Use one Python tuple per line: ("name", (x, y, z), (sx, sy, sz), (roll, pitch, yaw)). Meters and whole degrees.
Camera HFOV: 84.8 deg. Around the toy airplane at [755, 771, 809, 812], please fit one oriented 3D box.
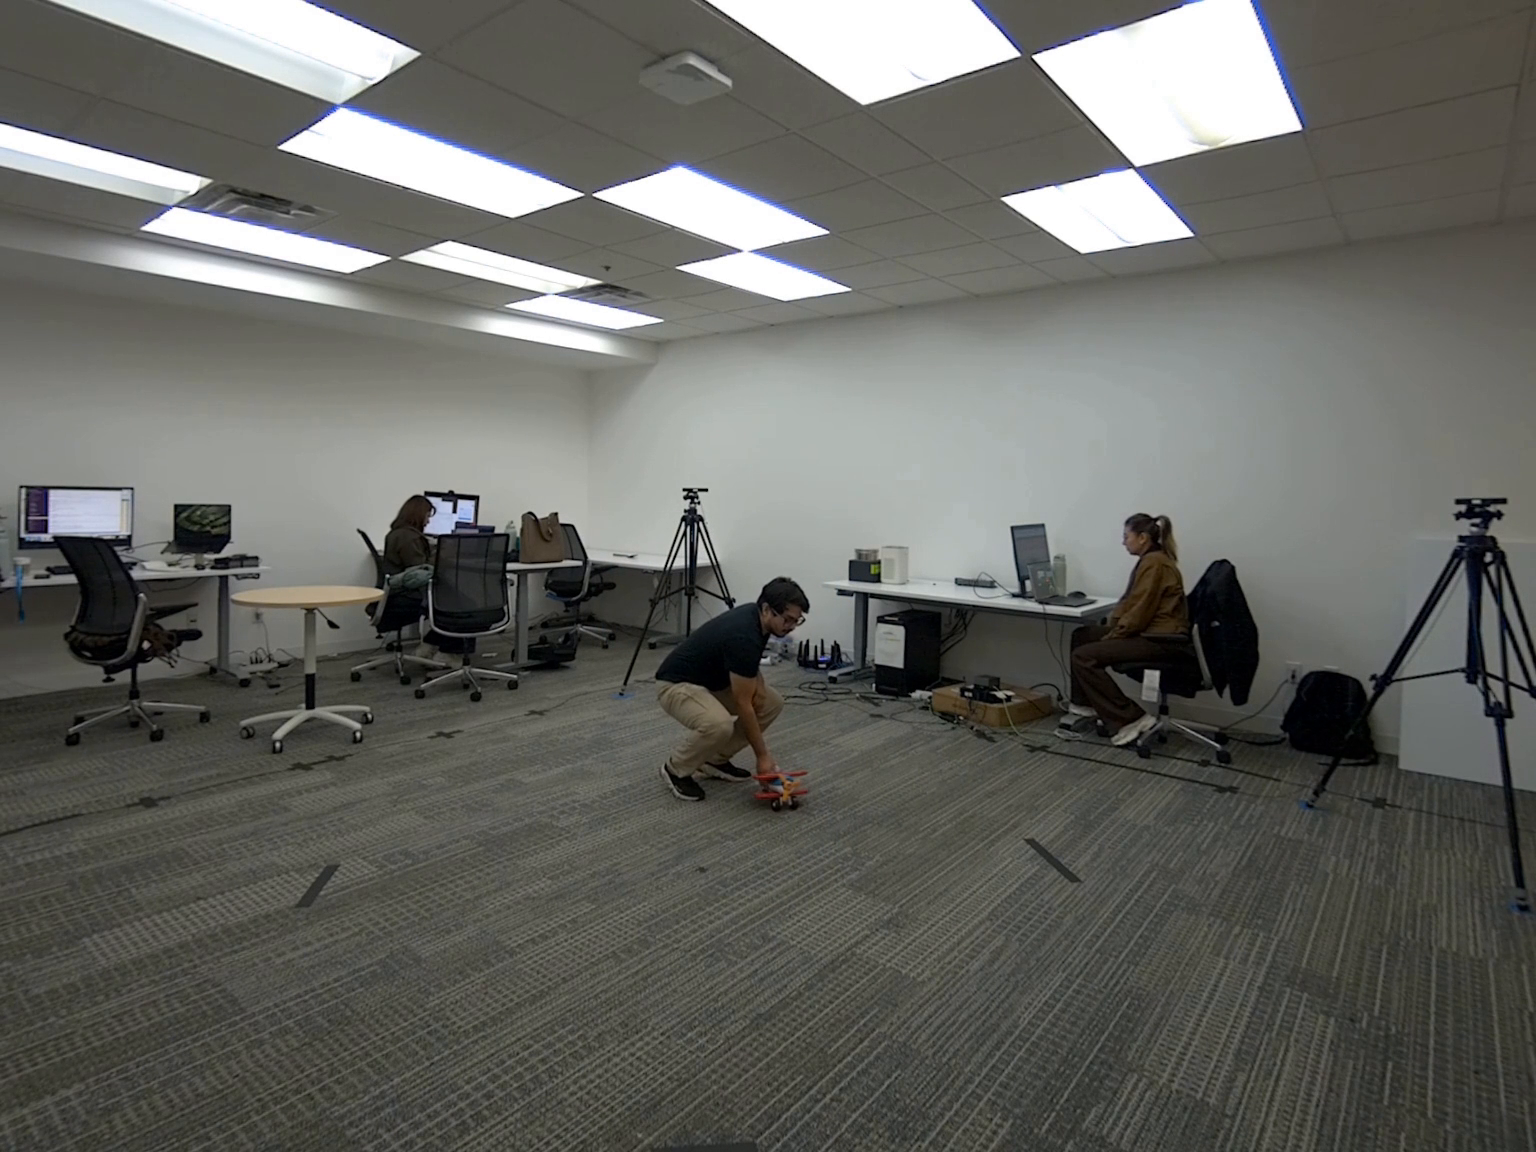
("toy airplane", (0.026, 0.933, 3.791), (0.268, 0.156, 0.243), (6, 6, 41))
